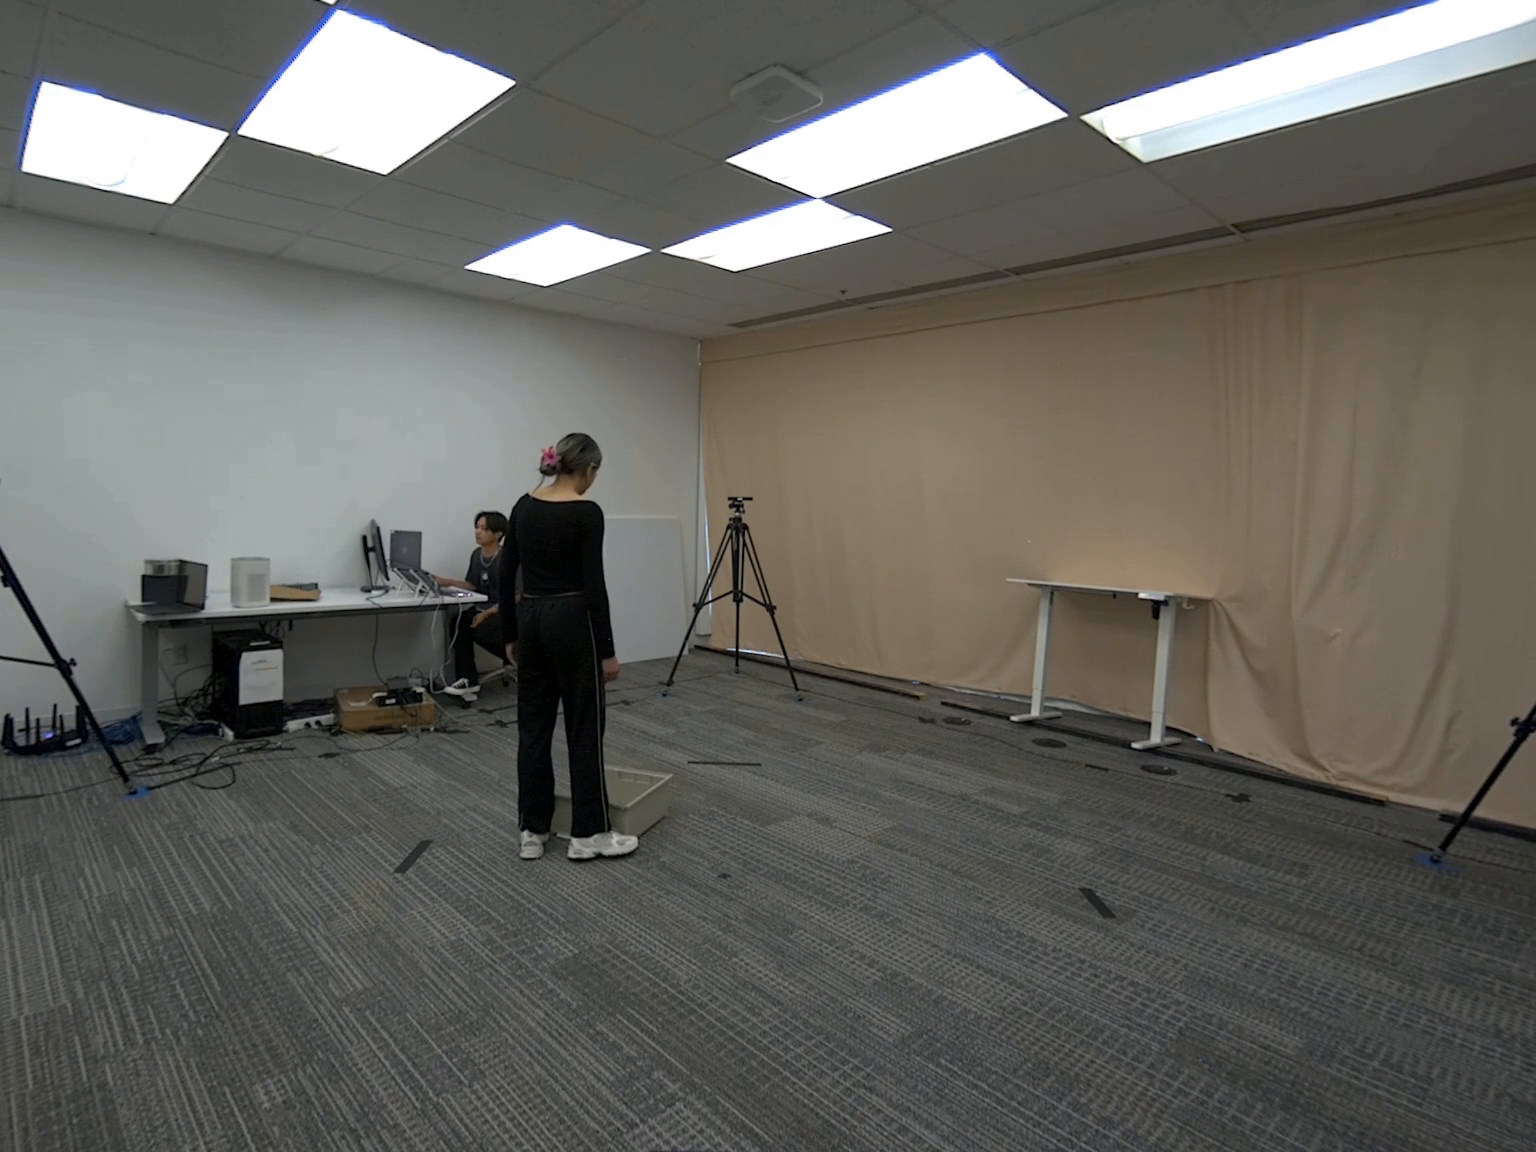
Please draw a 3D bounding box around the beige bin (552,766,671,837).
[{"bbox_3d":[-0.670,0.966,3.548,0.384,0.188,0.416,4,5,21],"label":"beige bin"}]
